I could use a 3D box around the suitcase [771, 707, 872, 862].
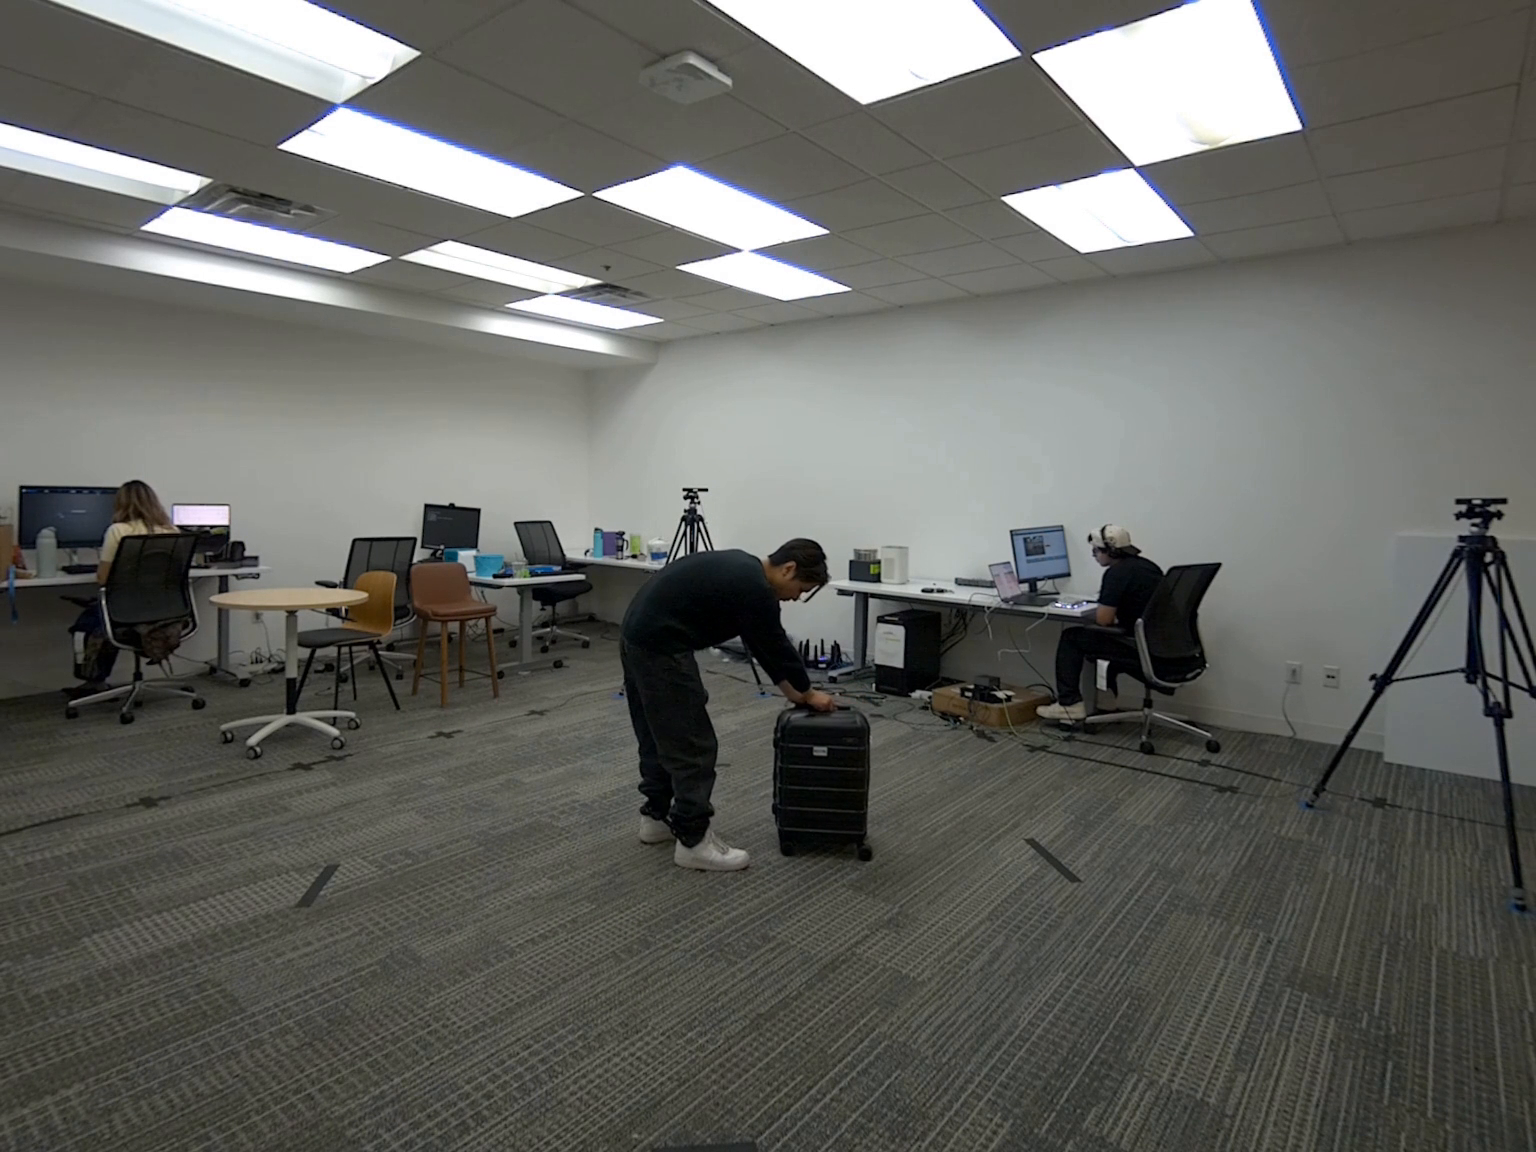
[{"bbox_3d":[0.208,0.782,3.342,0.377,0.546,0.249,1,5,3],"label":"suitcase"}]
